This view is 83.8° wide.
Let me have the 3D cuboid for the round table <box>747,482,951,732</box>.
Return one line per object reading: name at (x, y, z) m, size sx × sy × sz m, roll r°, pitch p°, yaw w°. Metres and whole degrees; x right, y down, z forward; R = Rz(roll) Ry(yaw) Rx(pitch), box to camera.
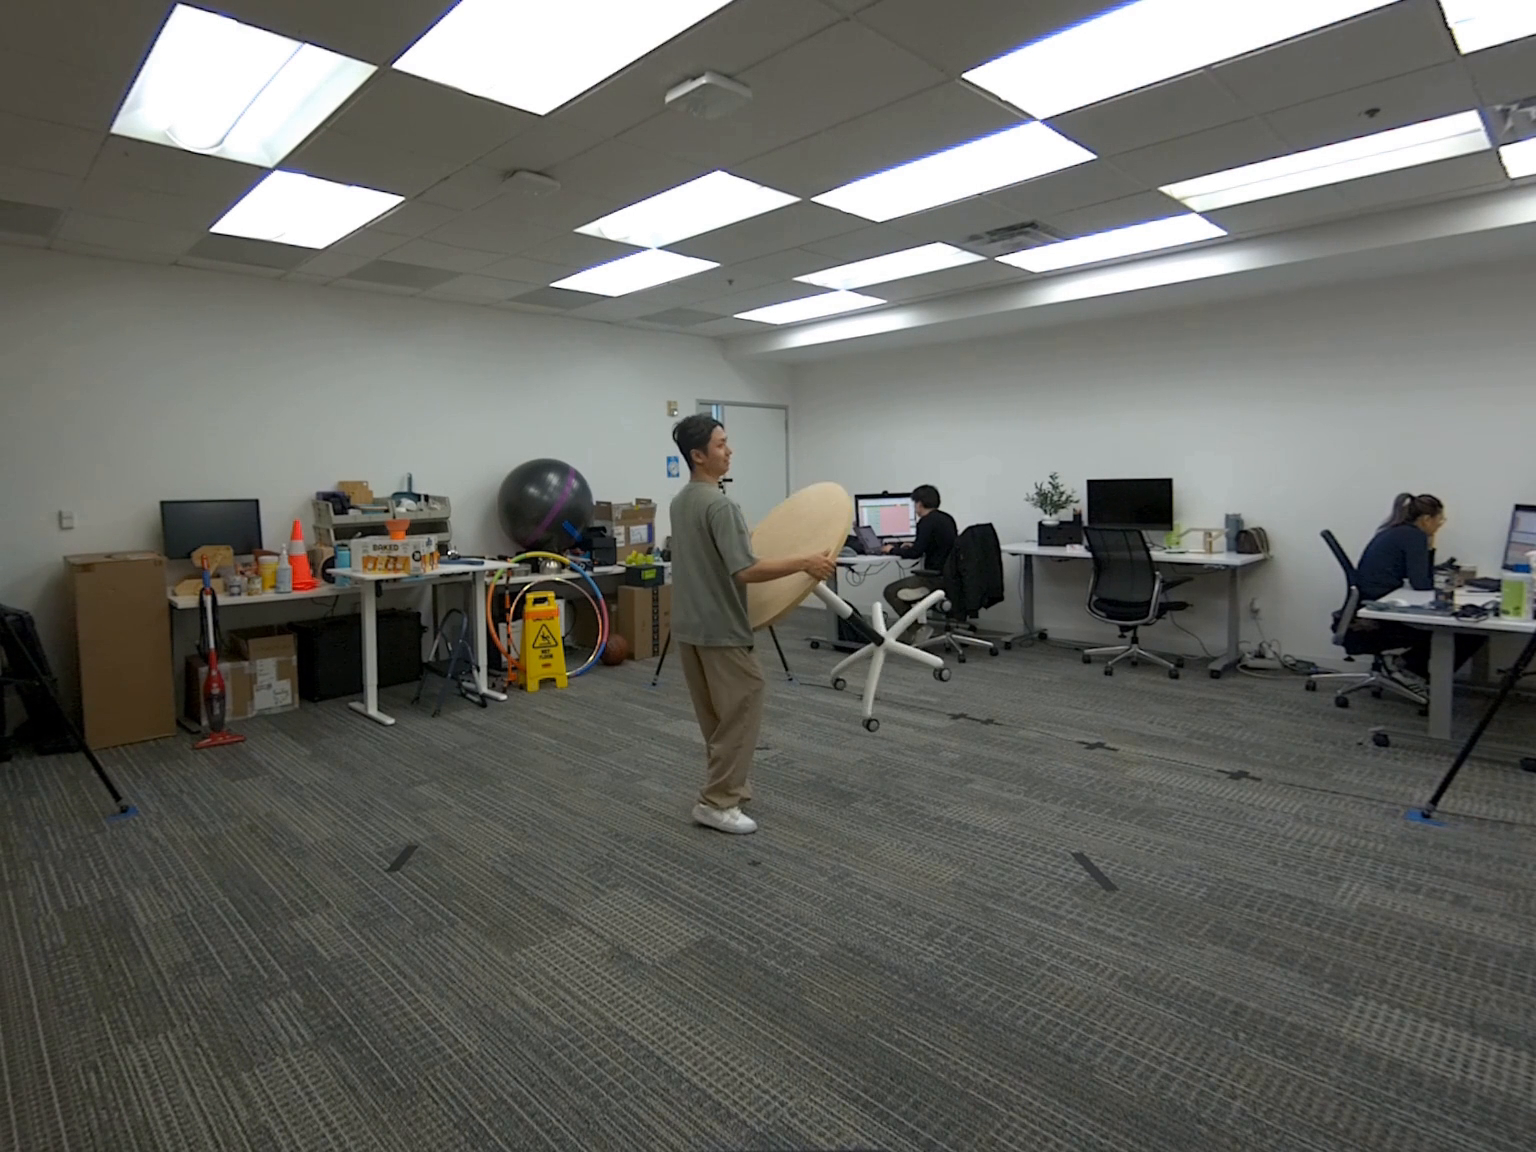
round table at (0.322, 0.147, 3.697) m, size 0.765 × 0.787 × 0.805 m, roll 40°, pitch -13°, yaw -23°
